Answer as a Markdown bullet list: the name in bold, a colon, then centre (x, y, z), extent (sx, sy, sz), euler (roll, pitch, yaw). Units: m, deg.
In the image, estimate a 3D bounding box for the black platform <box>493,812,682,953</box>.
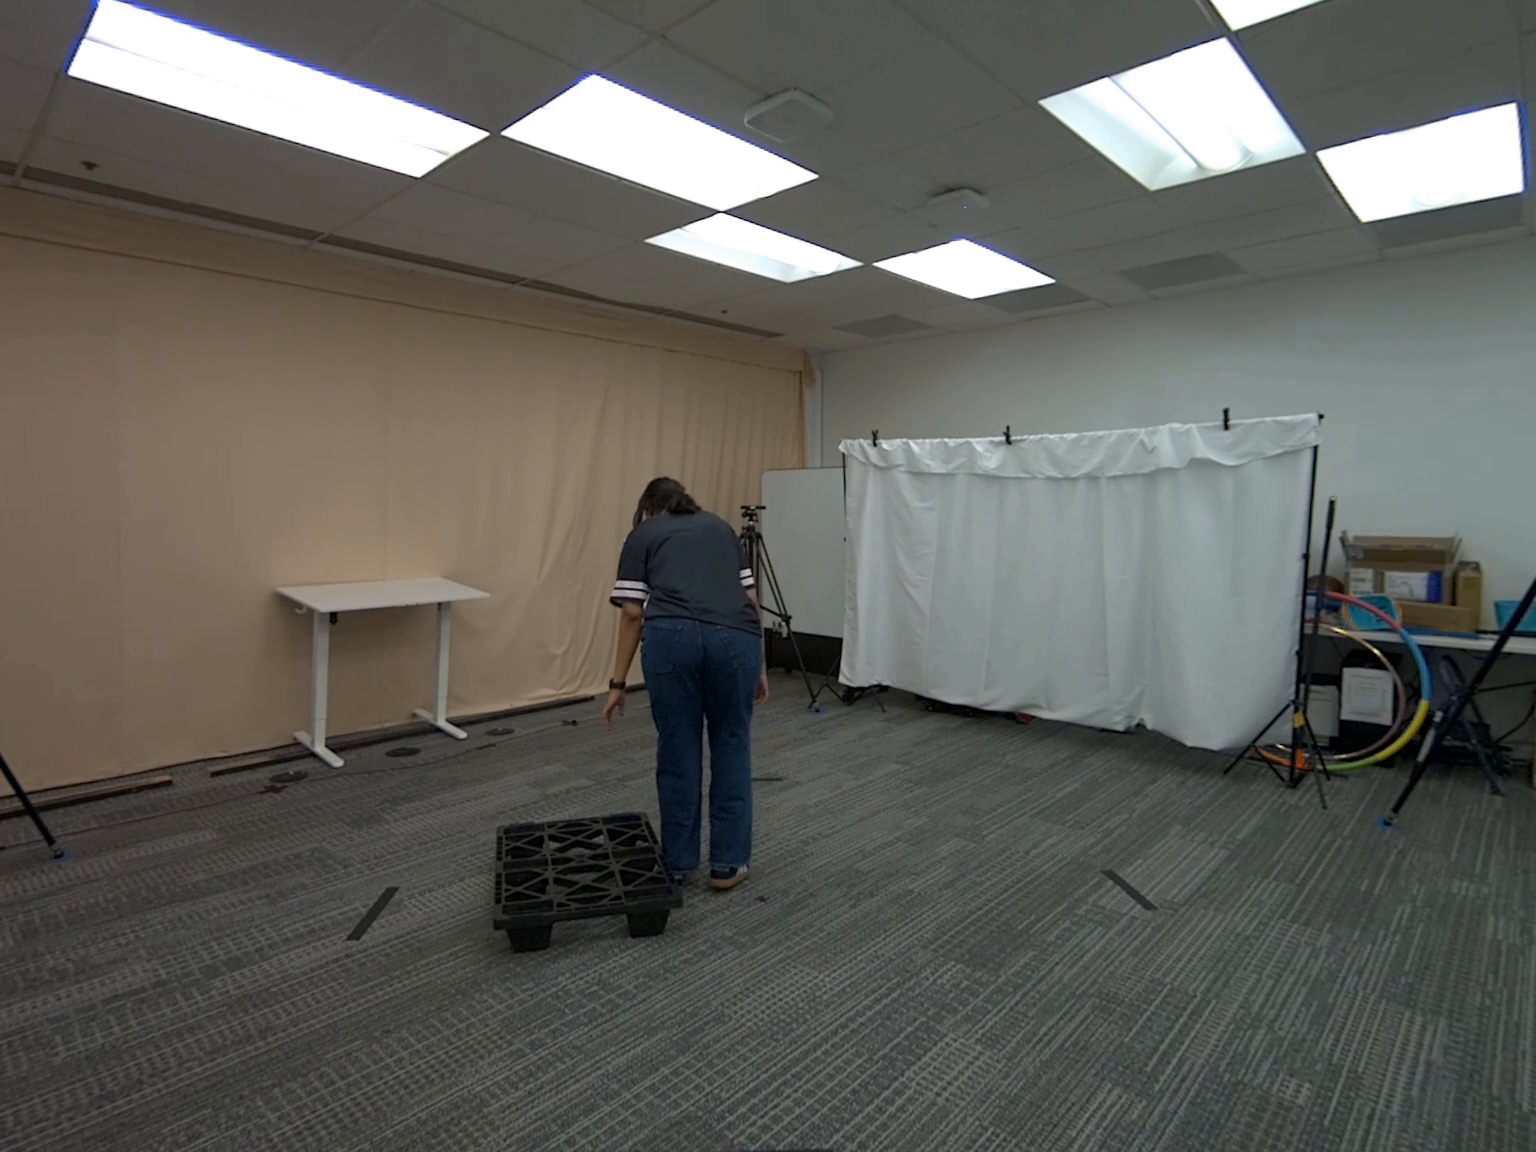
- **black platform**: centre (-0.676, 1.080, 3.035), extent (0.596, 0.143, 0.820), euler (-1, 5, -16)
